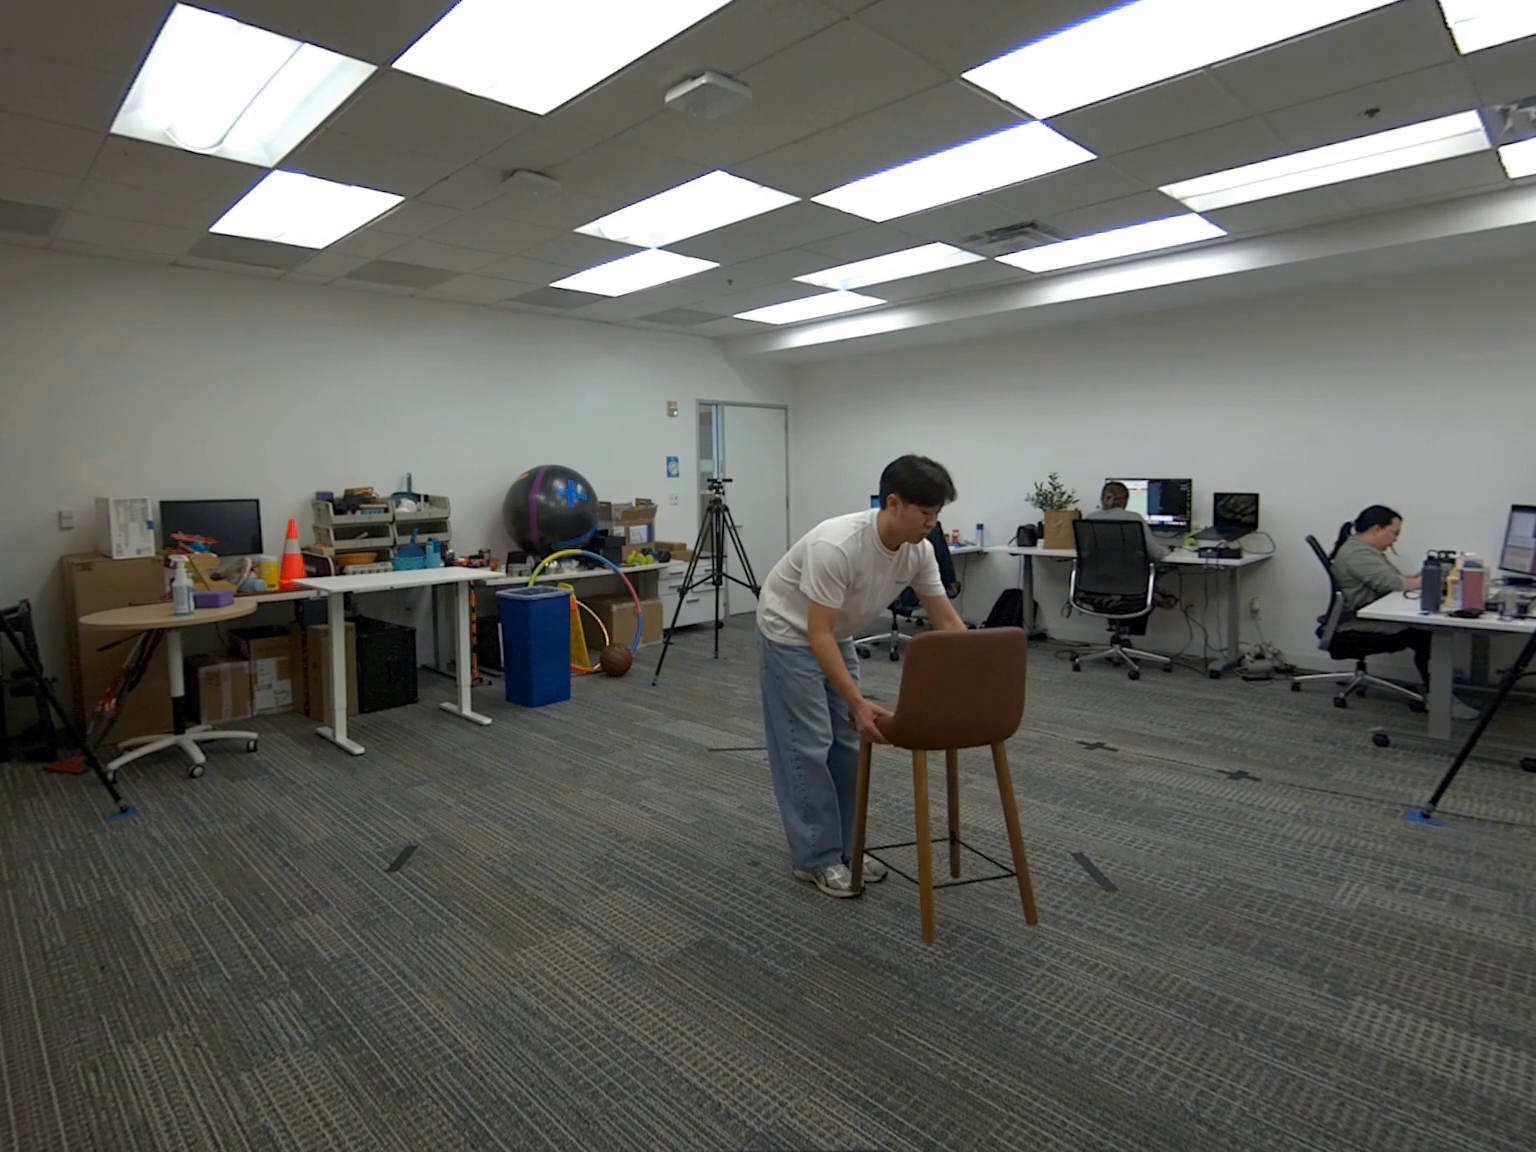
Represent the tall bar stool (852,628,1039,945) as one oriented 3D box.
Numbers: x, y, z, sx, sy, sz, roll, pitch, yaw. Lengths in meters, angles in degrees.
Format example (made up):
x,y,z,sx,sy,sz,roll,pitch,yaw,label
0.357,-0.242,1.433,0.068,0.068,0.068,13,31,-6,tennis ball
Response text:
x,y,z,sx,sy,sz,roll,pitch,yaw,label
0.540,0.597,2.674,0.448,0.890,0.476,-1,0,-20,tall bar stool
